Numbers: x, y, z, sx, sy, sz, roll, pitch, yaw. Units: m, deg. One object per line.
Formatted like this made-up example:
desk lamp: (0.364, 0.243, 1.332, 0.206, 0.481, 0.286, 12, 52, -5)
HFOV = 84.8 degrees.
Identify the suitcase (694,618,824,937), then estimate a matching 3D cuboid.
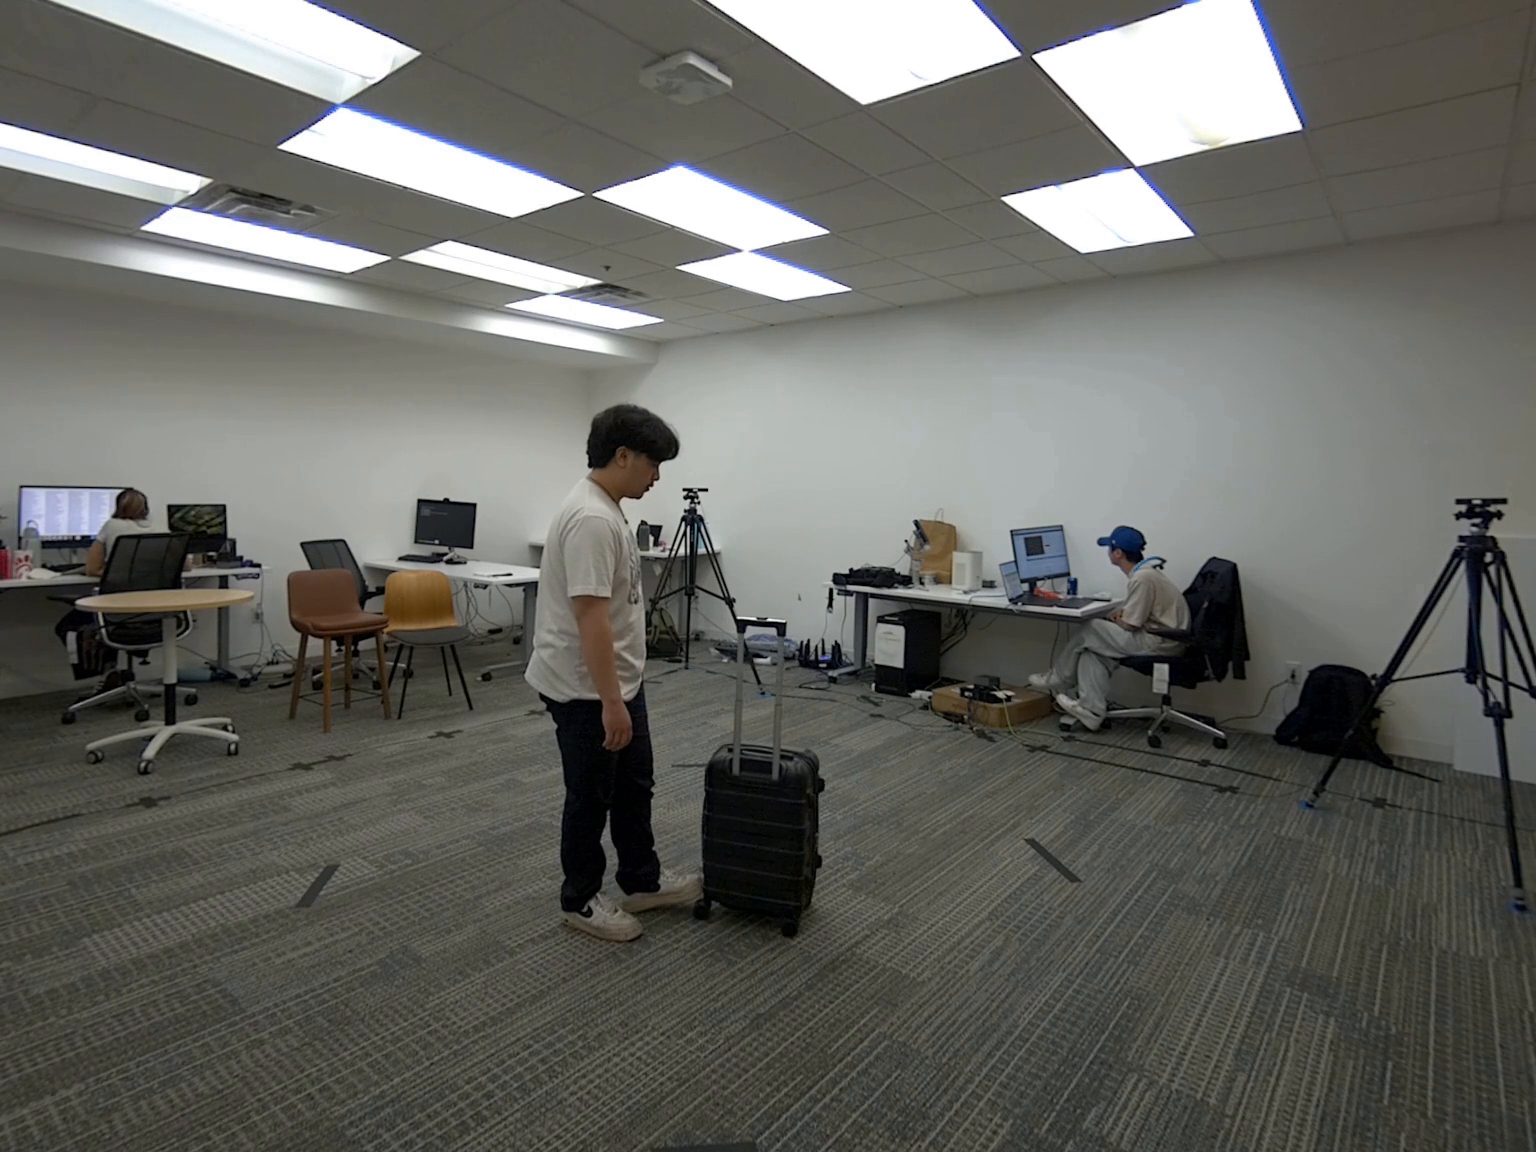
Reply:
suitcase: (-0.018, 0.631, 2.796, 0.391, 0.978, 0.252, 3, 0, 17)
